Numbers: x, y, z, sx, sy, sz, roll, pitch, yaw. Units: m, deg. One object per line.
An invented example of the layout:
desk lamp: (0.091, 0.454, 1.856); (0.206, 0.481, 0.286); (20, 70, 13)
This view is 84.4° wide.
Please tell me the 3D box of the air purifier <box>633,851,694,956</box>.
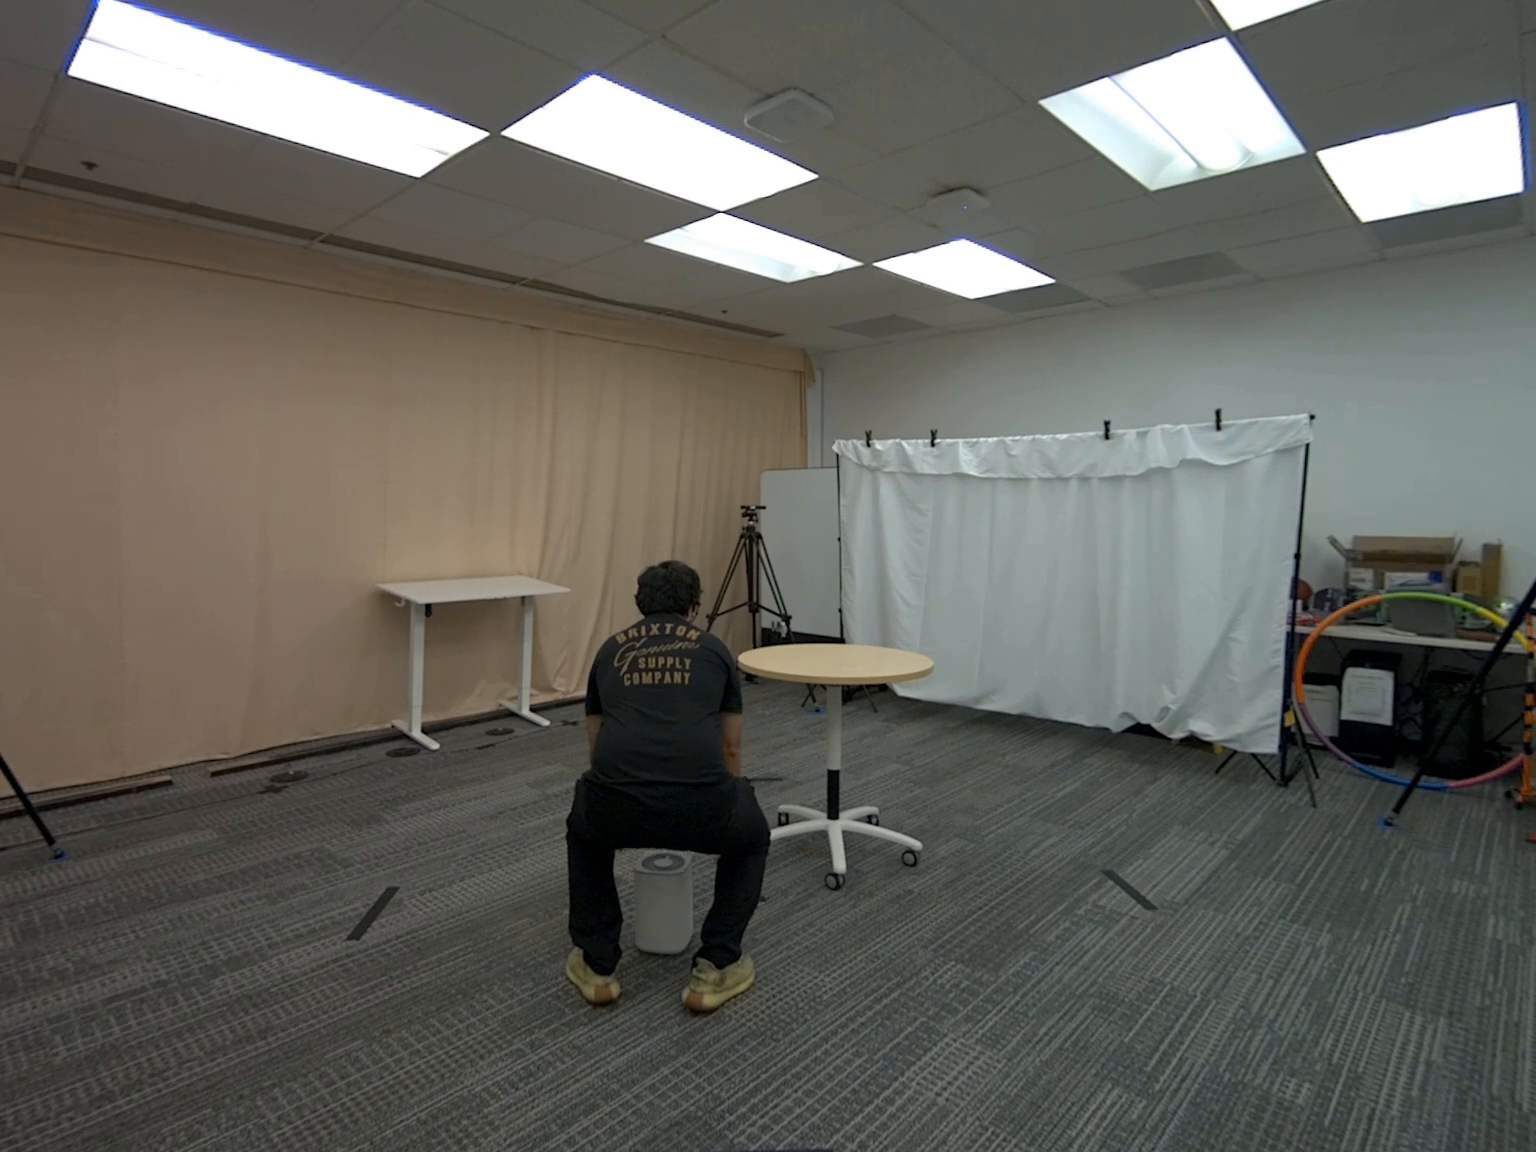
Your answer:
air purifier: (-0.330, 1.038, 2.670); (0.170, 0.262, 0.172); (0, 3, 12)
